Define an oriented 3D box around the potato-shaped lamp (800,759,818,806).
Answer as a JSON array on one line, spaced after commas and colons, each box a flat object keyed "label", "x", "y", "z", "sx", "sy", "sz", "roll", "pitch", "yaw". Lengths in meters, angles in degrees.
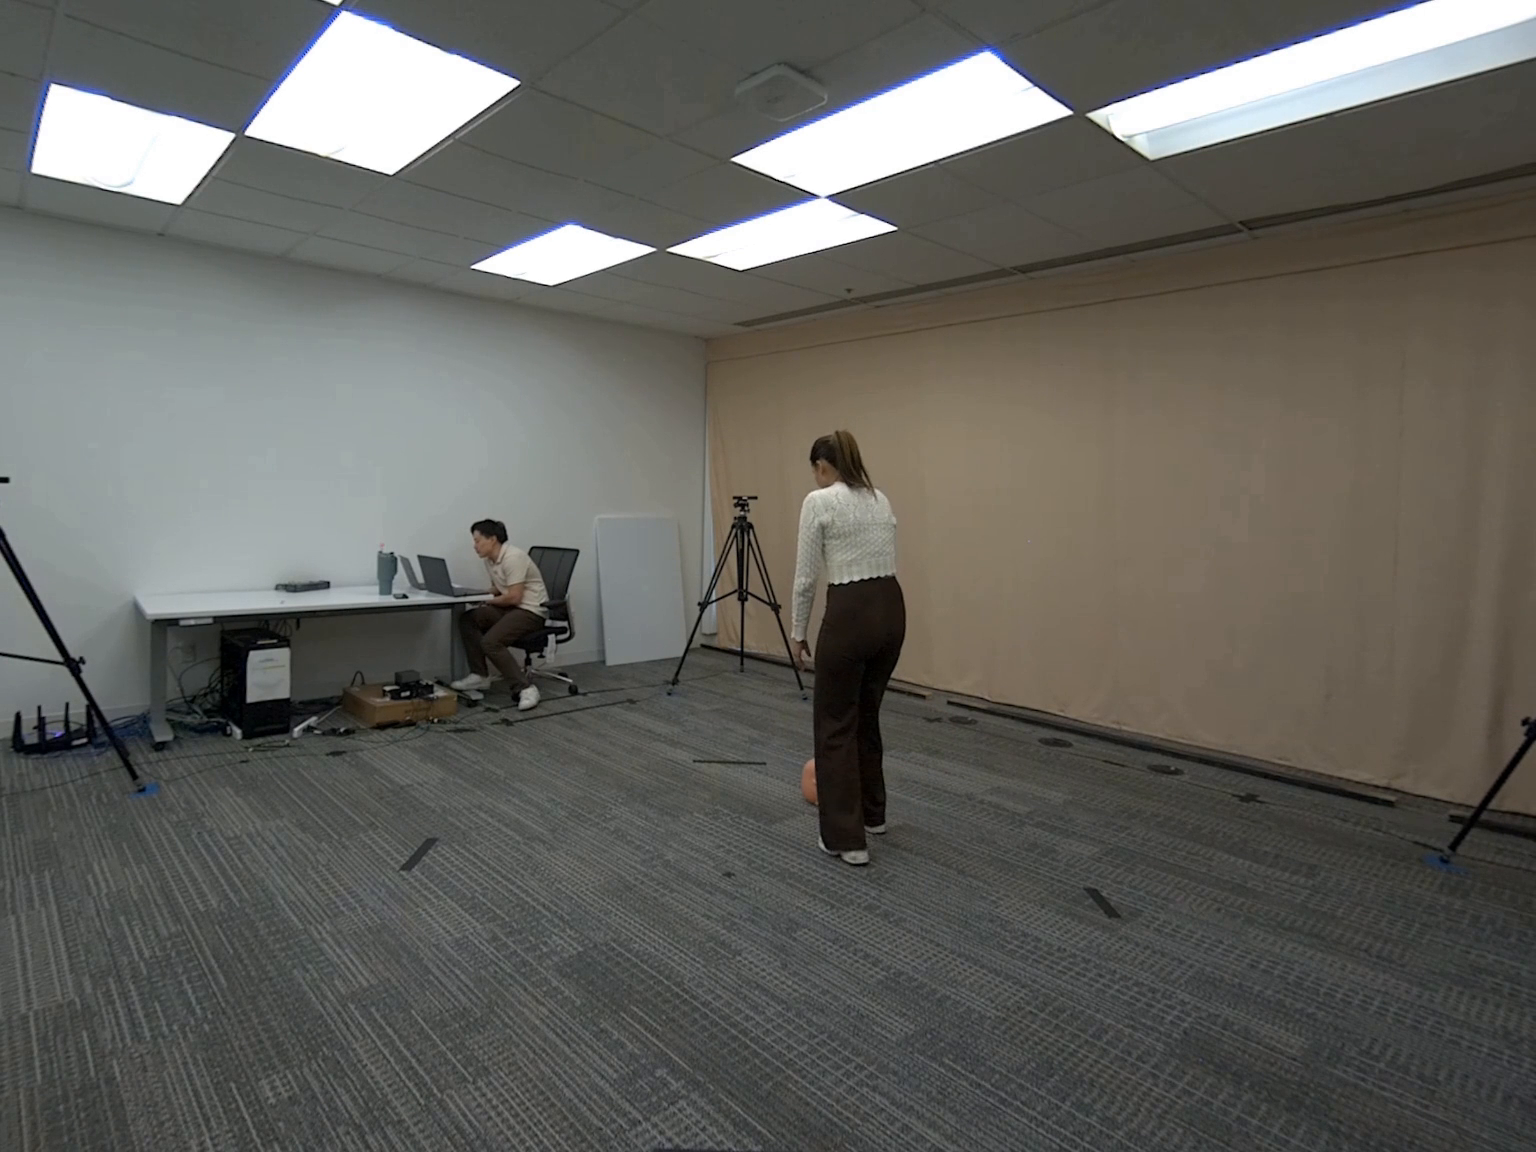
[{"label": "potato-shaped lamp", "x": 0.225, "y": 0.943, "z": 3.898, "sx": 0.161, "sy": 0.197, "sz": 0.175, "roll": -4, "pitch": 5, "yaw": -30}]
